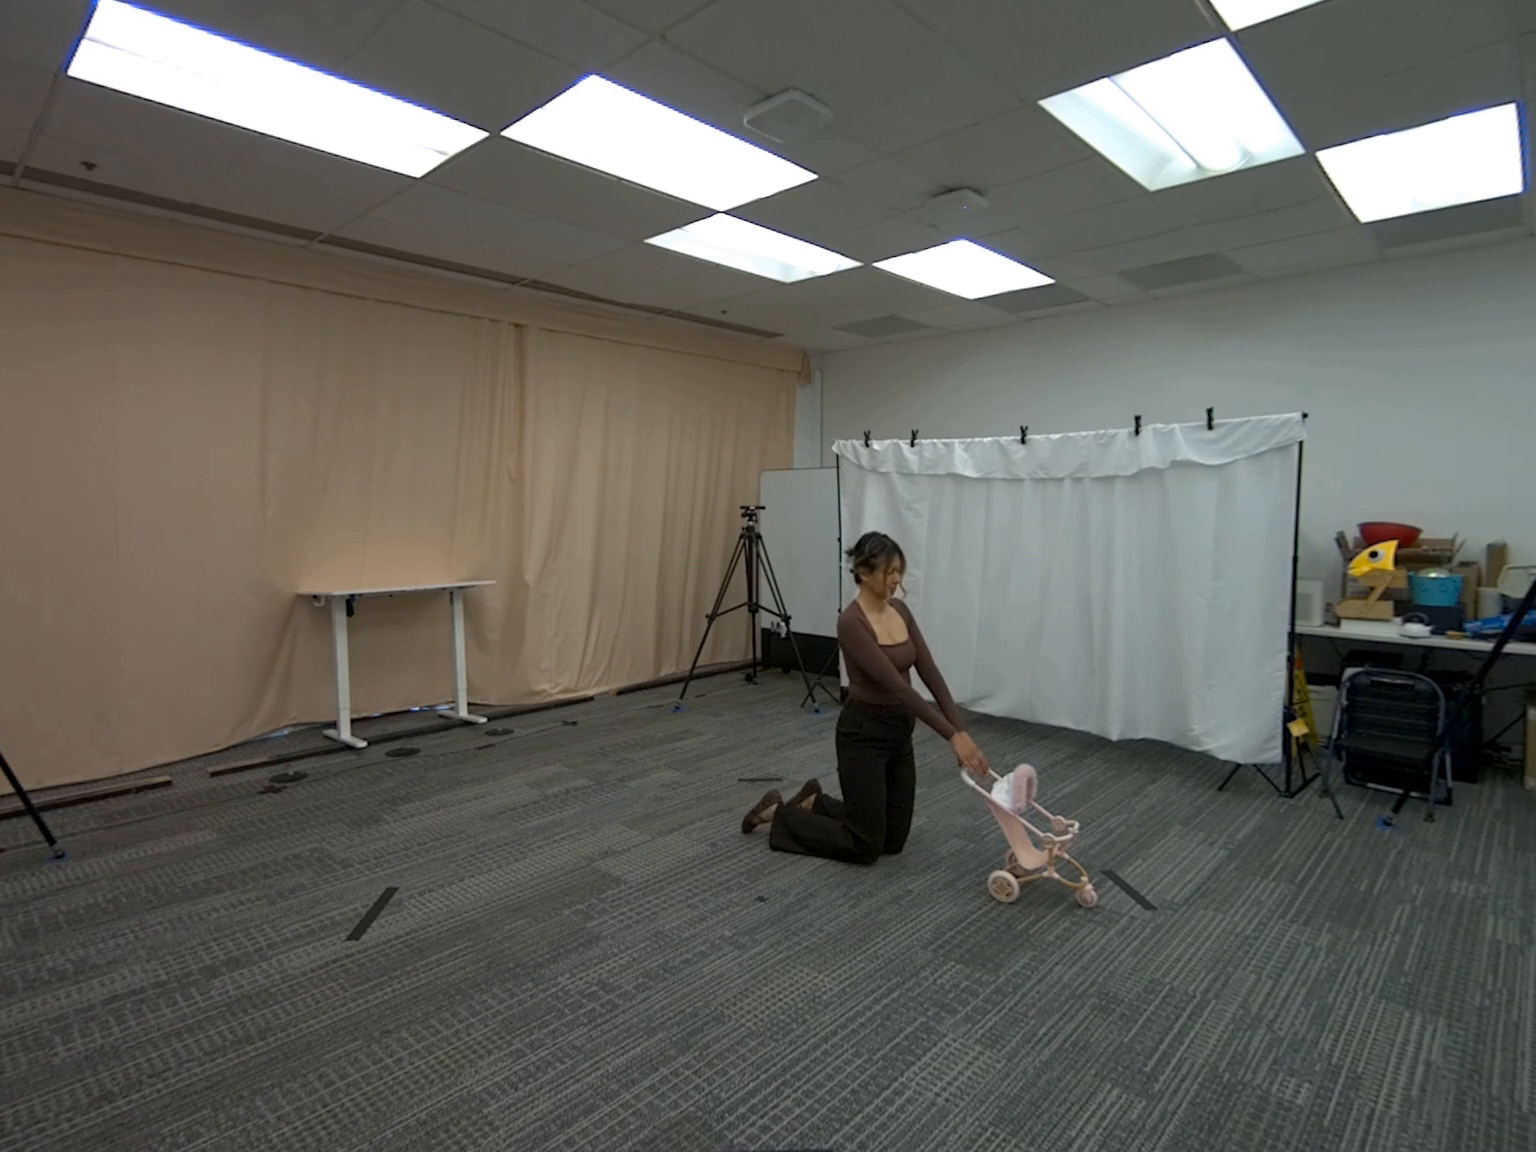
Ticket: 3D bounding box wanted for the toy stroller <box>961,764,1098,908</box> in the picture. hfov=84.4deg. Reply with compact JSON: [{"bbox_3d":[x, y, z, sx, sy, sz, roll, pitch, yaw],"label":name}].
[{"bbox_3d":[0.947,0.916,3.011,0.349,0.538,0.273,-18,-8,35],"label":"toy stroller"}]
